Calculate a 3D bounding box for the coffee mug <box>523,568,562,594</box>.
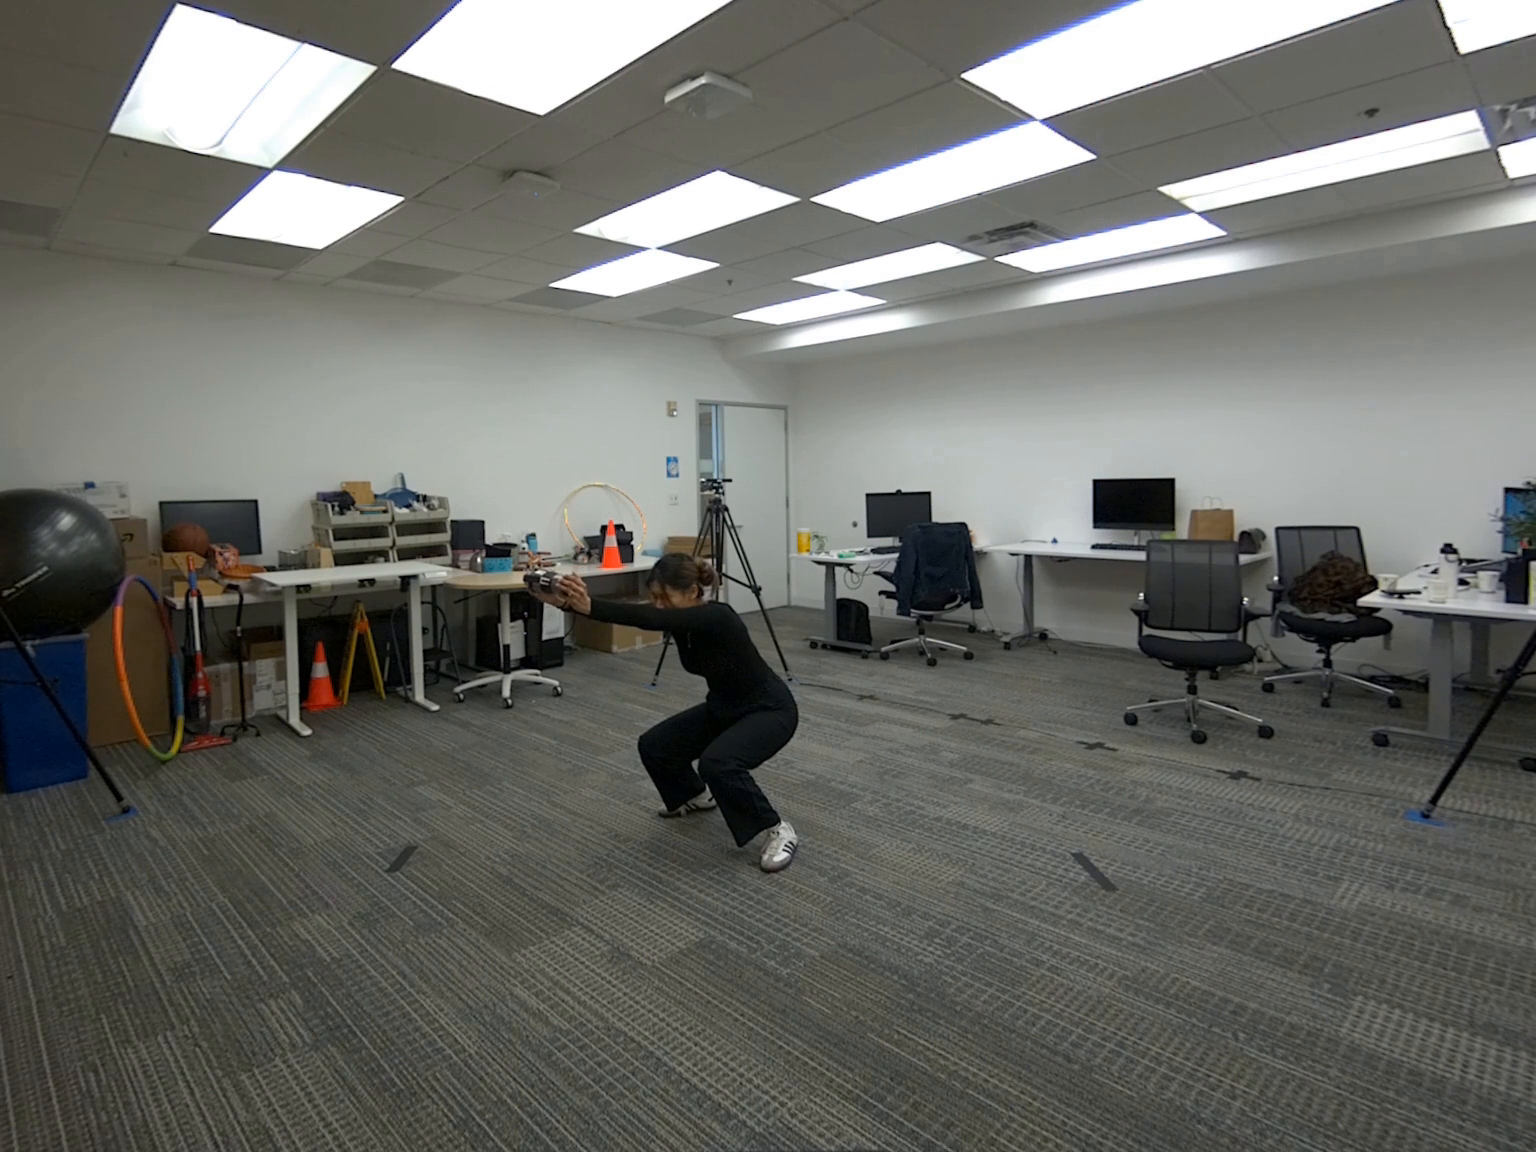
[{"bbox_3d":[-0.724,0.030,2.842,0.119,0.087,0.209,-13,12,-34],"label":"coffee mug"}]
